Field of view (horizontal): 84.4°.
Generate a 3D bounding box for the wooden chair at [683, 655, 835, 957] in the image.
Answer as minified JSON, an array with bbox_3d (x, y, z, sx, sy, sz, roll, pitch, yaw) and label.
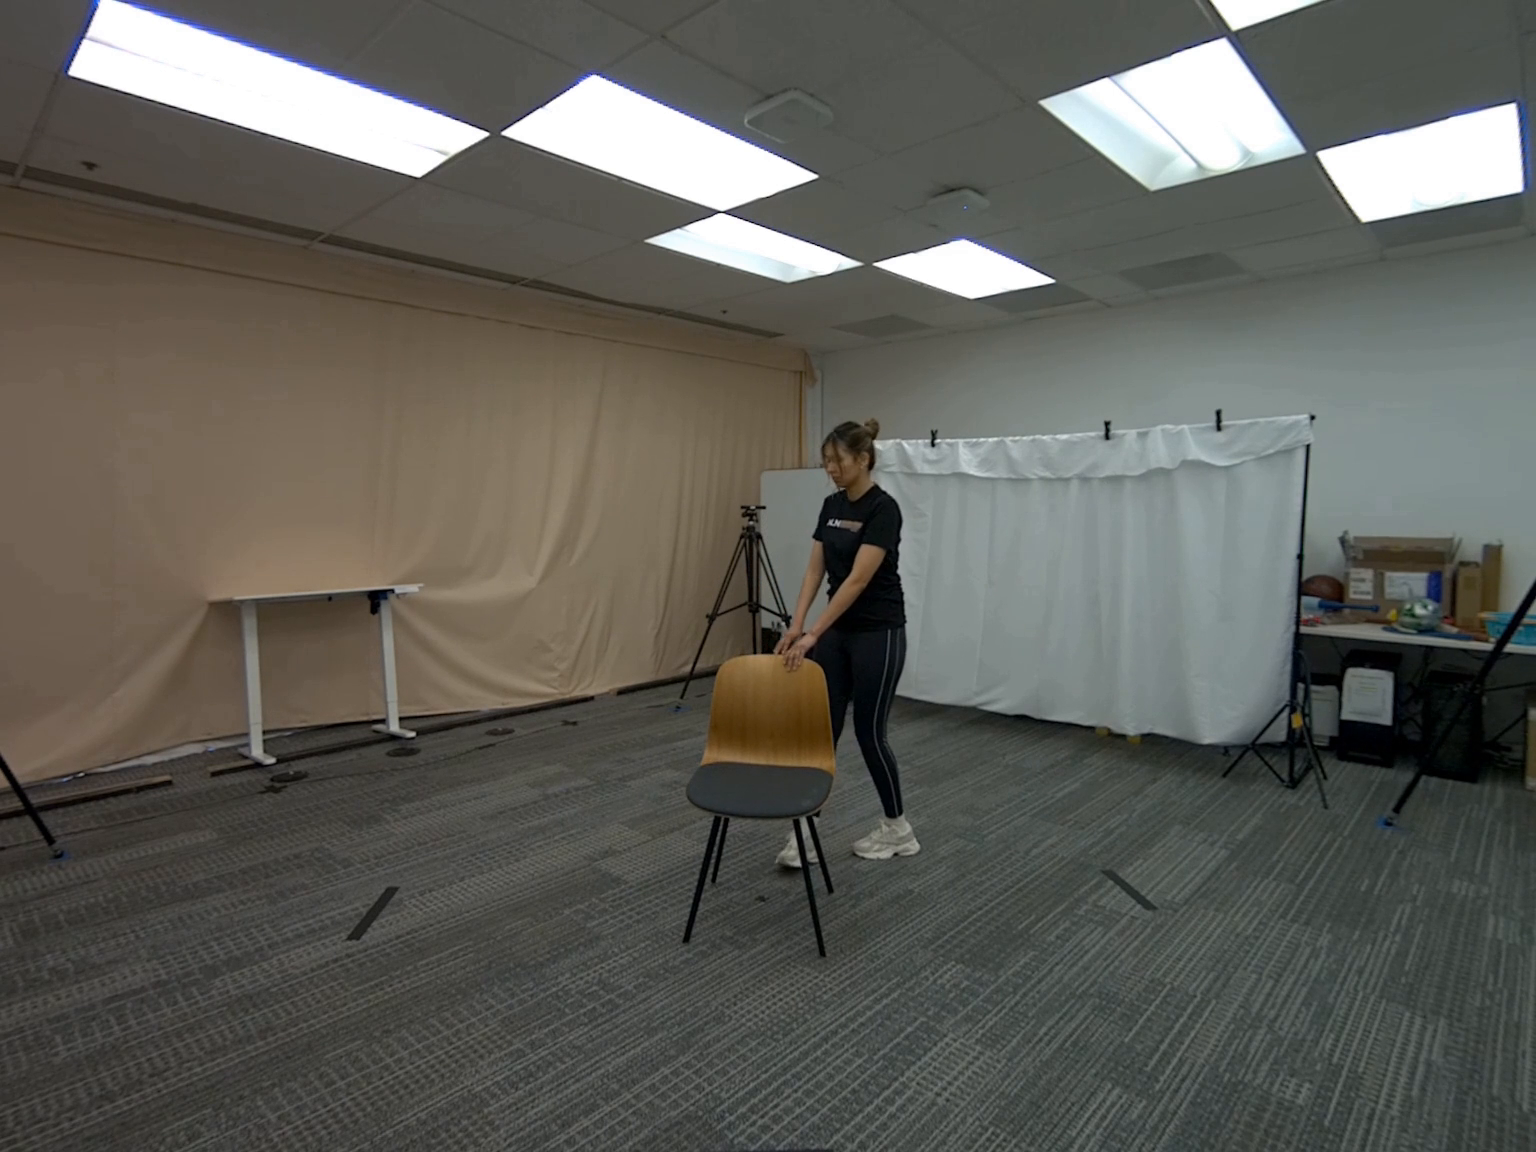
[{"bbox_3d":[-0.012,0.729,2.818,0.484,0.878,0.517,1,-1,10],"label":"wooden chair"}]
